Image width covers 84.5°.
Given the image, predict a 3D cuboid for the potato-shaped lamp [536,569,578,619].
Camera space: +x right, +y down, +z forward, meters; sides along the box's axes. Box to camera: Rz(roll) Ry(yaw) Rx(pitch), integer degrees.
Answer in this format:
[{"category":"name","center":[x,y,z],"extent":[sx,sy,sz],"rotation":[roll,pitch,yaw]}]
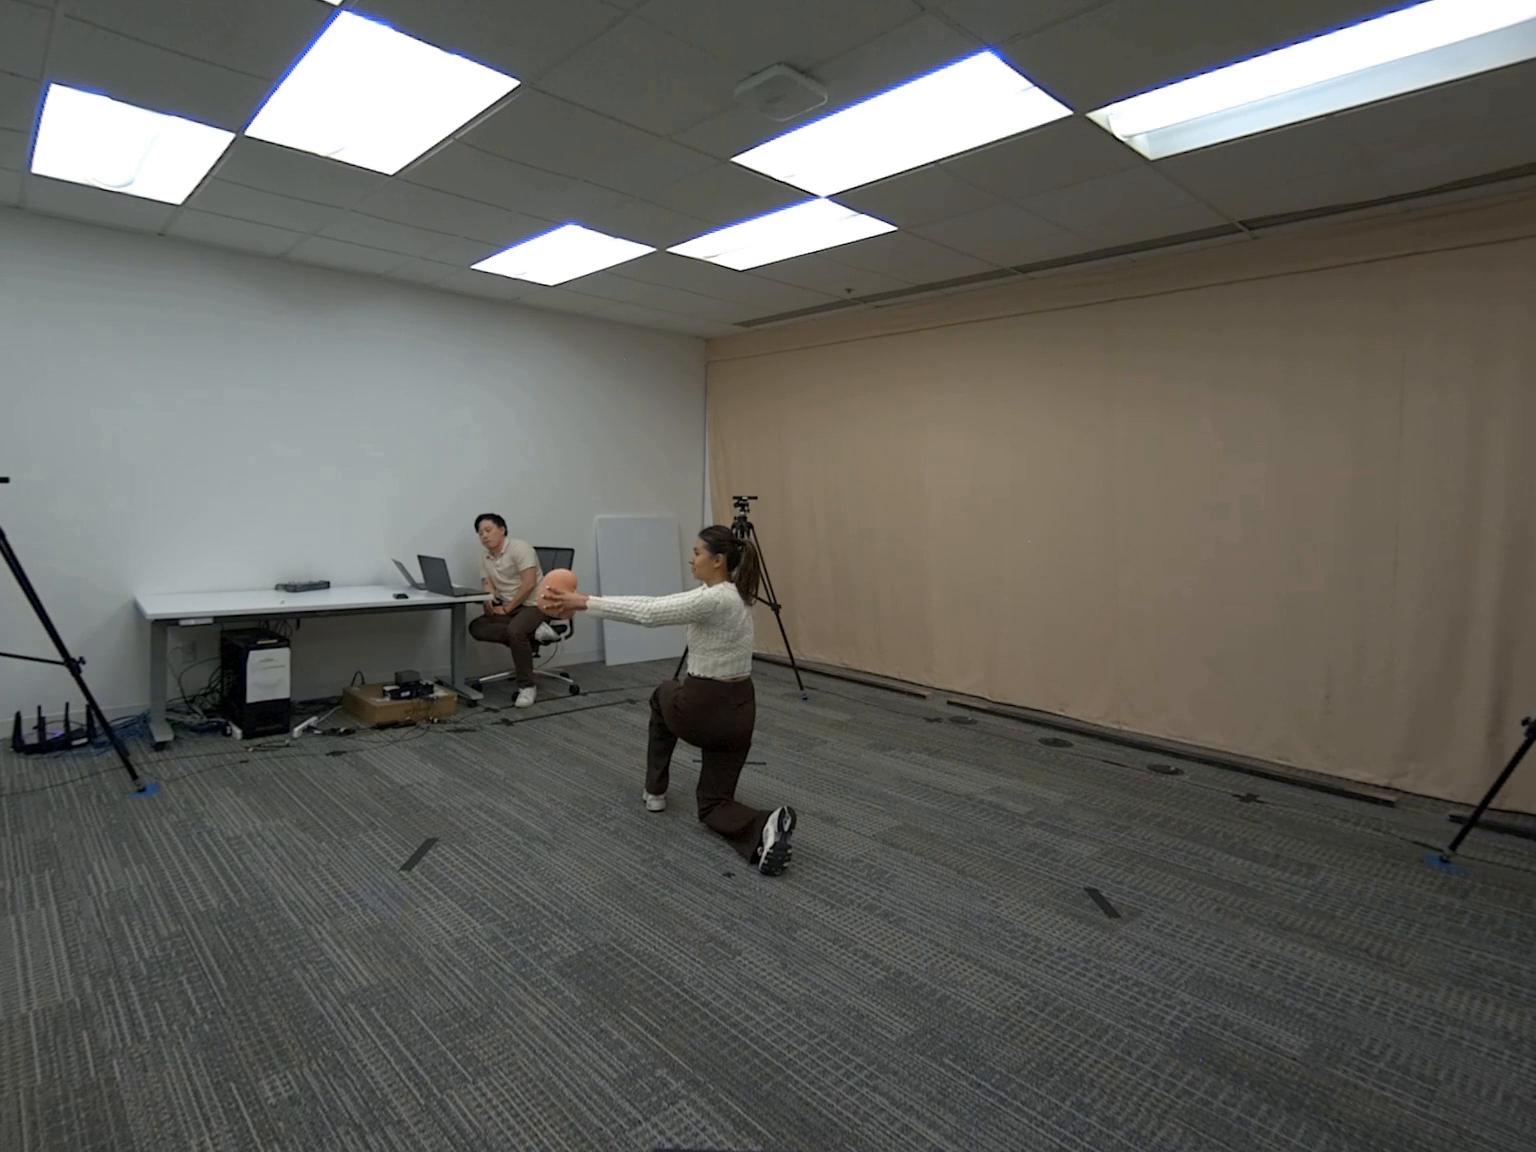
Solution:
[{"category":"potato-shaped lamp","center":[-0.868,0.069,3.500],"extent":[0.172,0.197,0.165],"rotation":[14,10,3]}]
